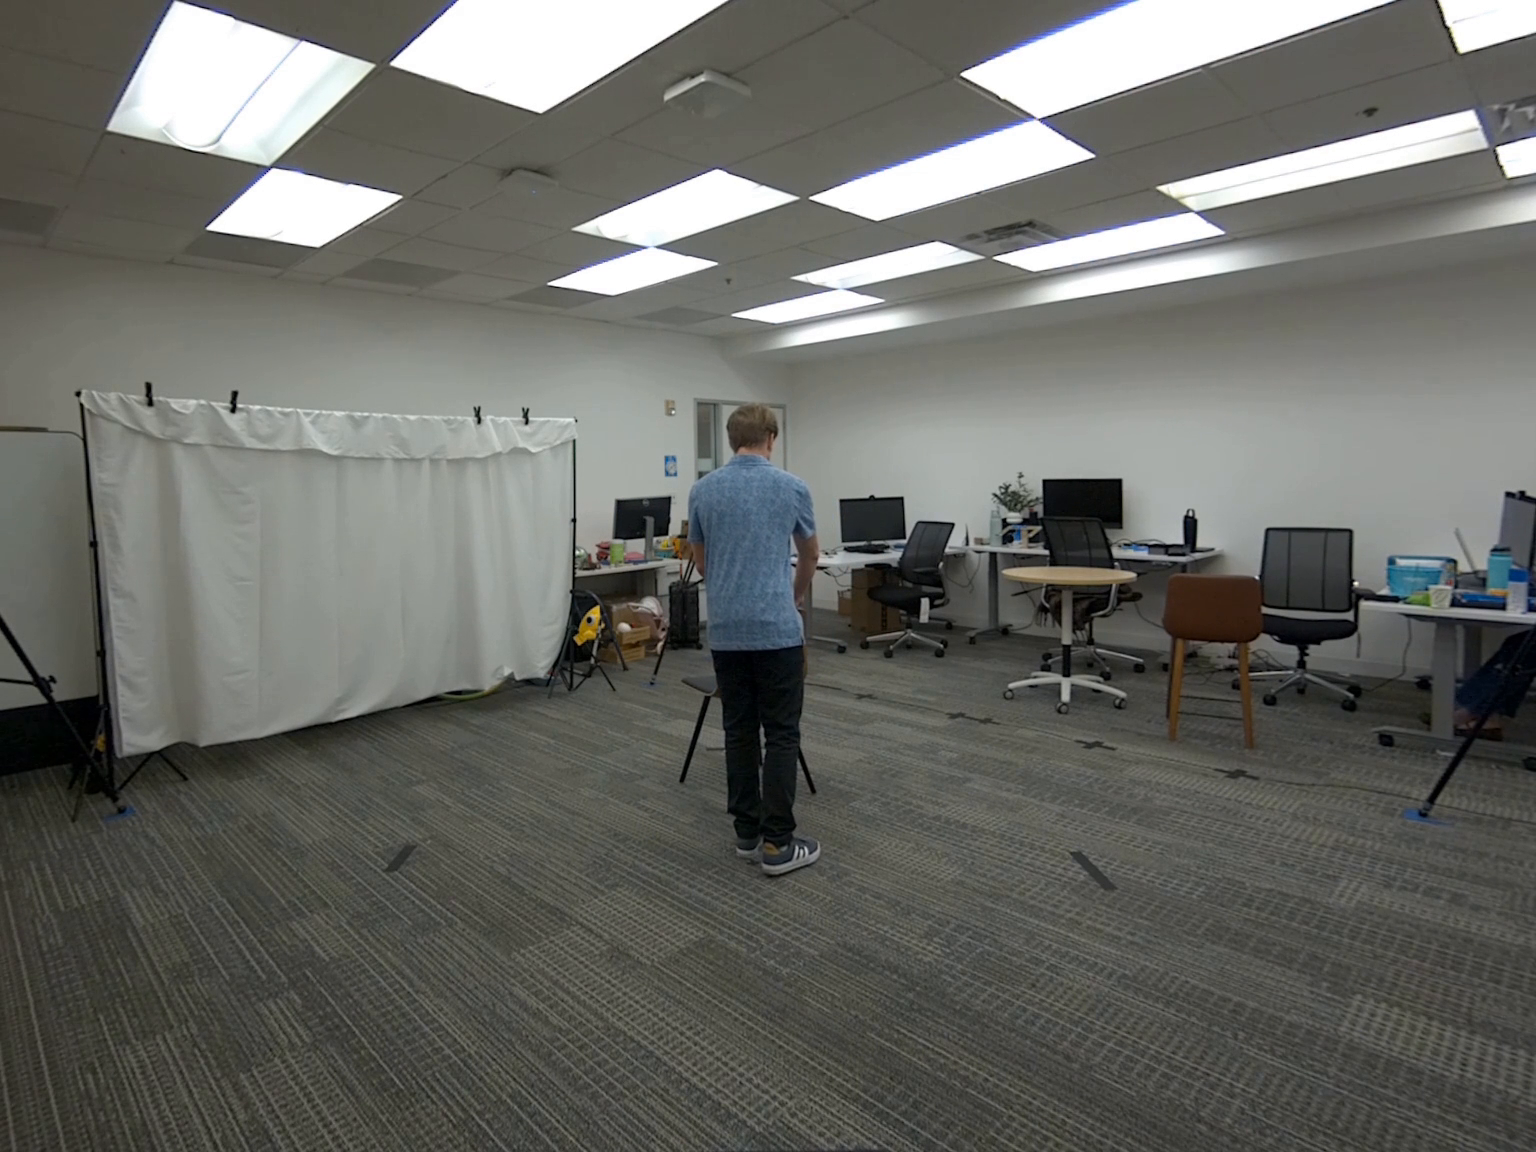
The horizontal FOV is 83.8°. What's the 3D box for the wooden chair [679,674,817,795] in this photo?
[{"bbox_3d":[-0.103,0.532,3.843,0.467,0.871,0.539,-3,9,-31],"label":"wooden chair"}]
